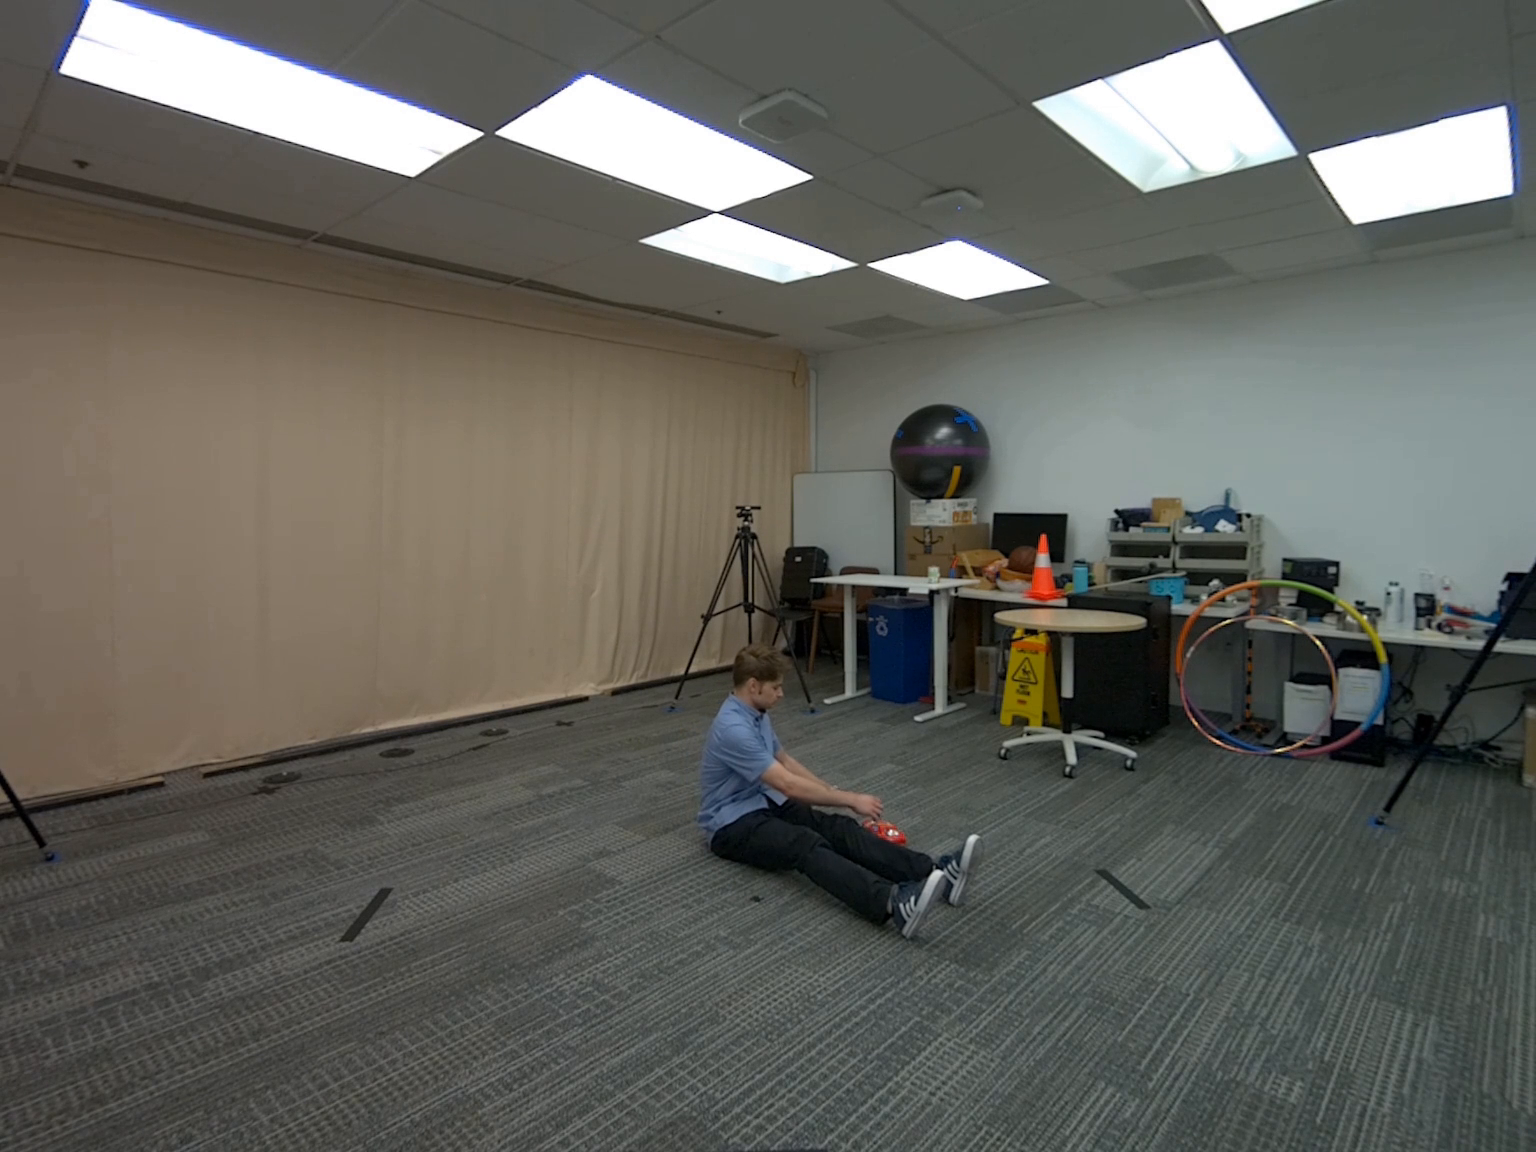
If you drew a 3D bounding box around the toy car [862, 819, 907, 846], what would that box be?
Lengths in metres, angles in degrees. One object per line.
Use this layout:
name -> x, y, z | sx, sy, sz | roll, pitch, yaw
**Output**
toy car -> 0.492, 1.071, 3.490 | 0.128, 0.083, 0.257 | -1, -6, -17
